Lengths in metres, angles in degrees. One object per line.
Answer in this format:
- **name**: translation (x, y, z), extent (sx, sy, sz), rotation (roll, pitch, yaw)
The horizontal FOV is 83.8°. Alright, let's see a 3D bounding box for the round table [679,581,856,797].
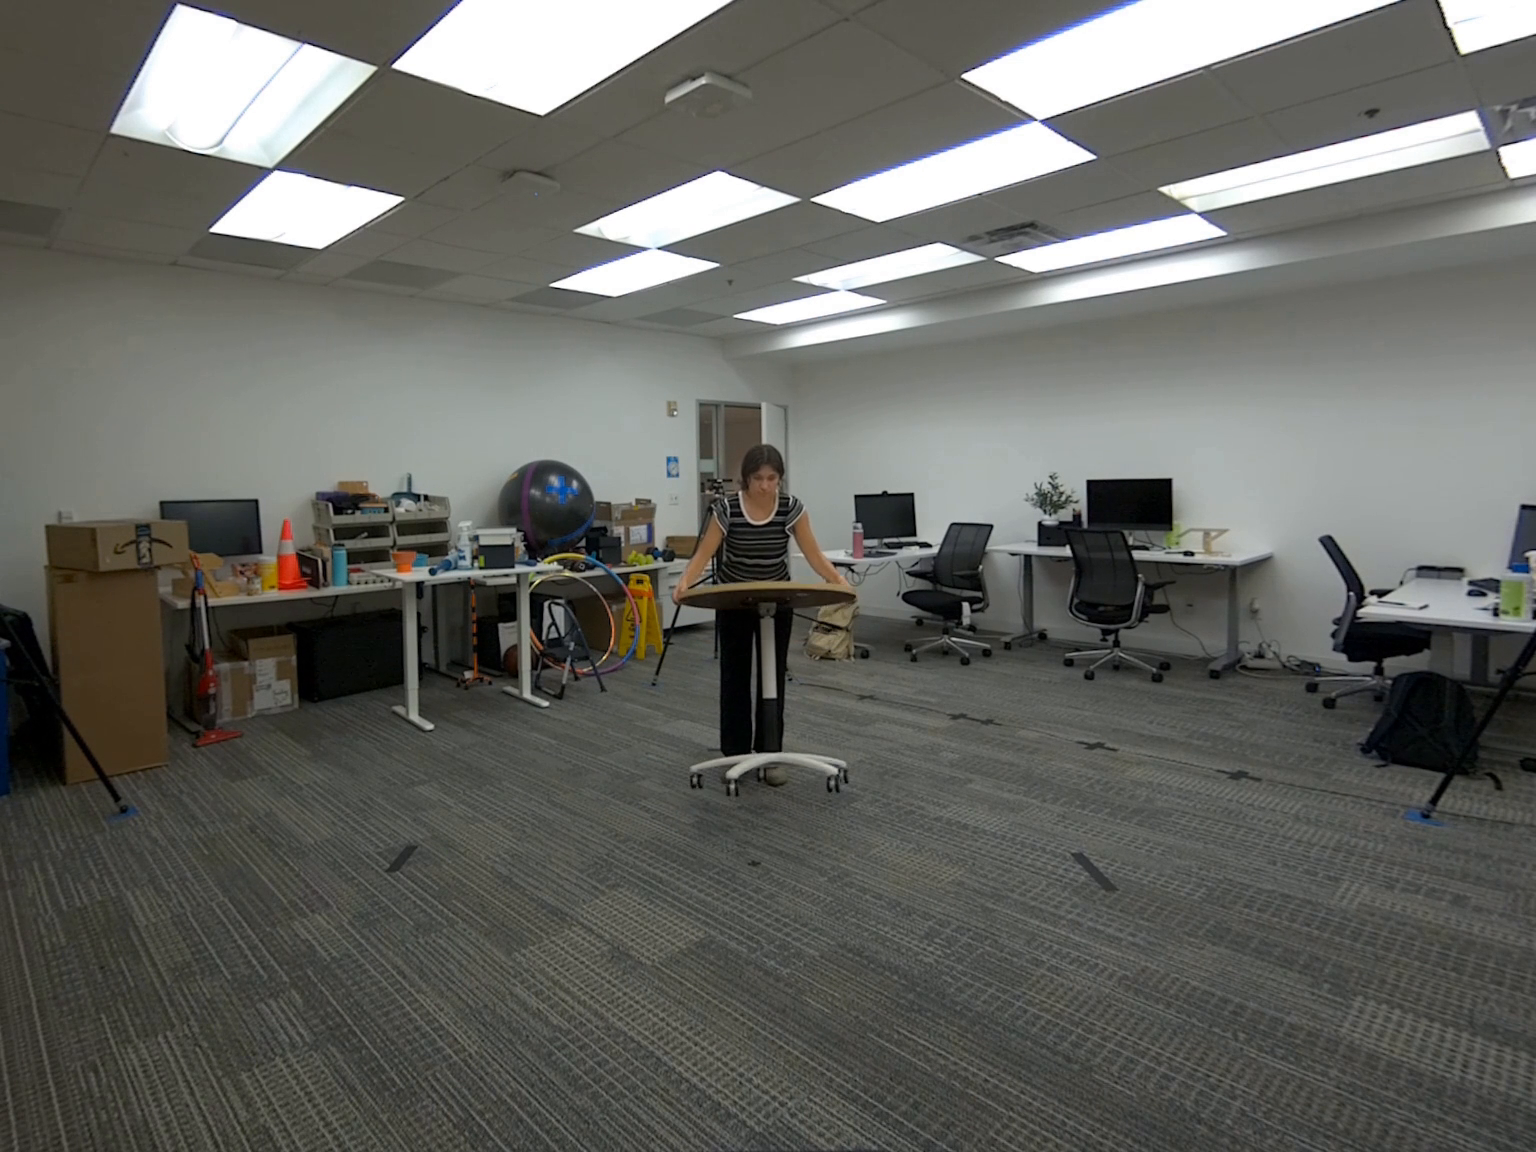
- **round table**: translation (0.004, 0.481, 3.586), extent (0.763, 0.802, 0.757), rotation (-1, -10, -2)
